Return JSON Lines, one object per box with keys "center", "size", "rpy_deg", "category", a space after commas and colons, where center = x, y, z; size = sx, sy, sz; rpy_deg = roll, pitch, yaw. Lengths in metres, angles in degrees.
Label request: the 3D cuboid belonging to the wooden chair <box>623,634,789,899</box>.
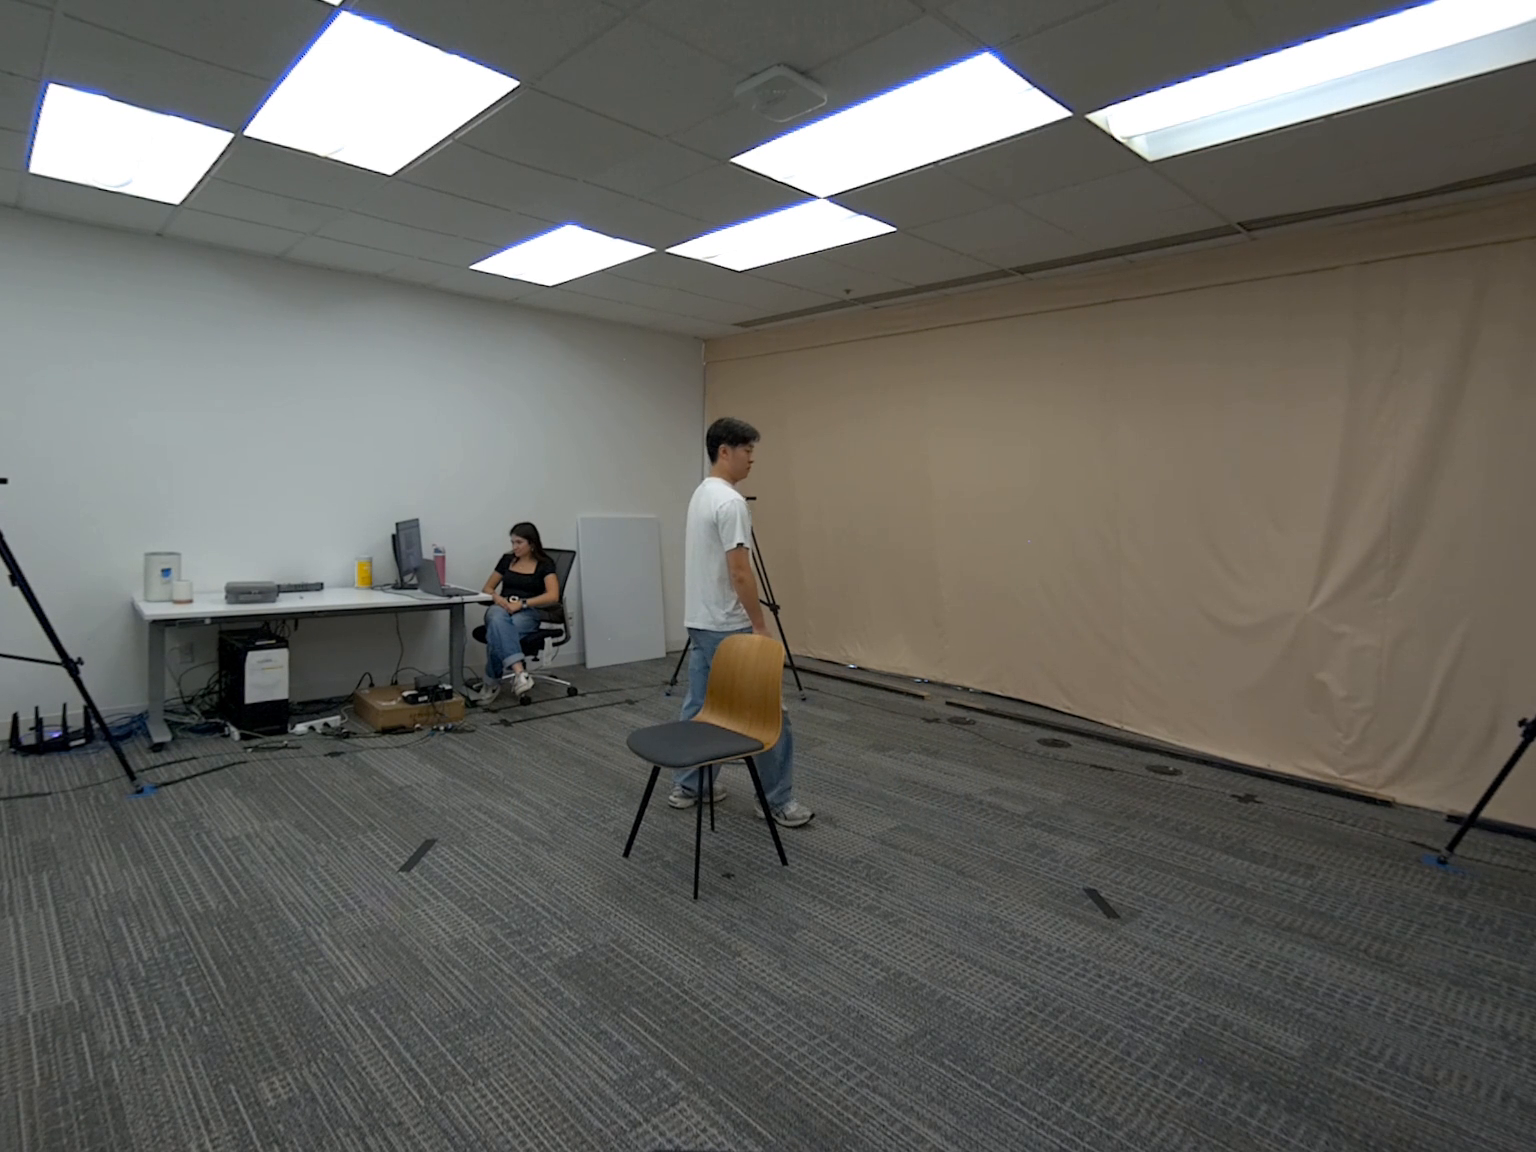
{"center": [-0.243, 0.673, 3.186], "size": [0.510, 0.877, 0.490], "rpy_deg": [4, 1, -42], "category": "wooden chair"}
